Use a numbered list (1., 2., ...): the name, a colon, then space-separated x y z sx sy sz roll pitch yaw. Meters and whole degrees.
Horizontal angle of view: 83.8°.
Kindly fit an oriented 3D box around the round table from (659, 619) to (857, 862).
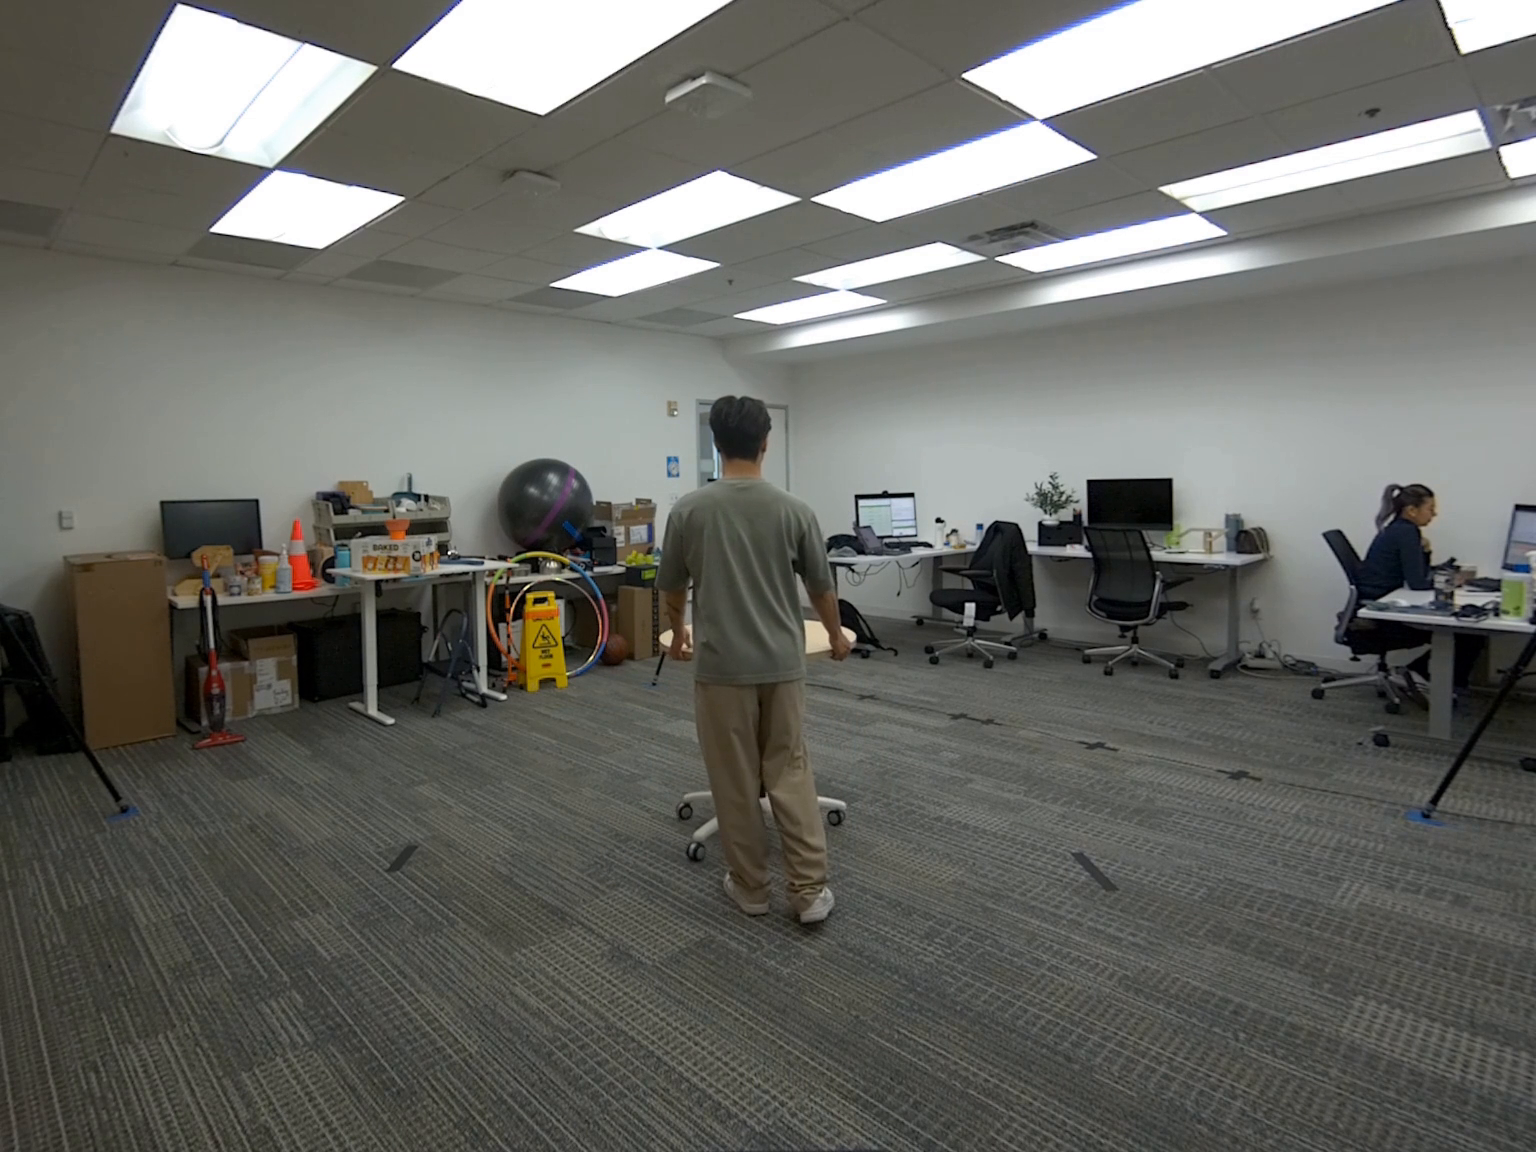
1. round table: -0.027 0.621 3.382 0.784 0.783 0.790 -1 6 -2
